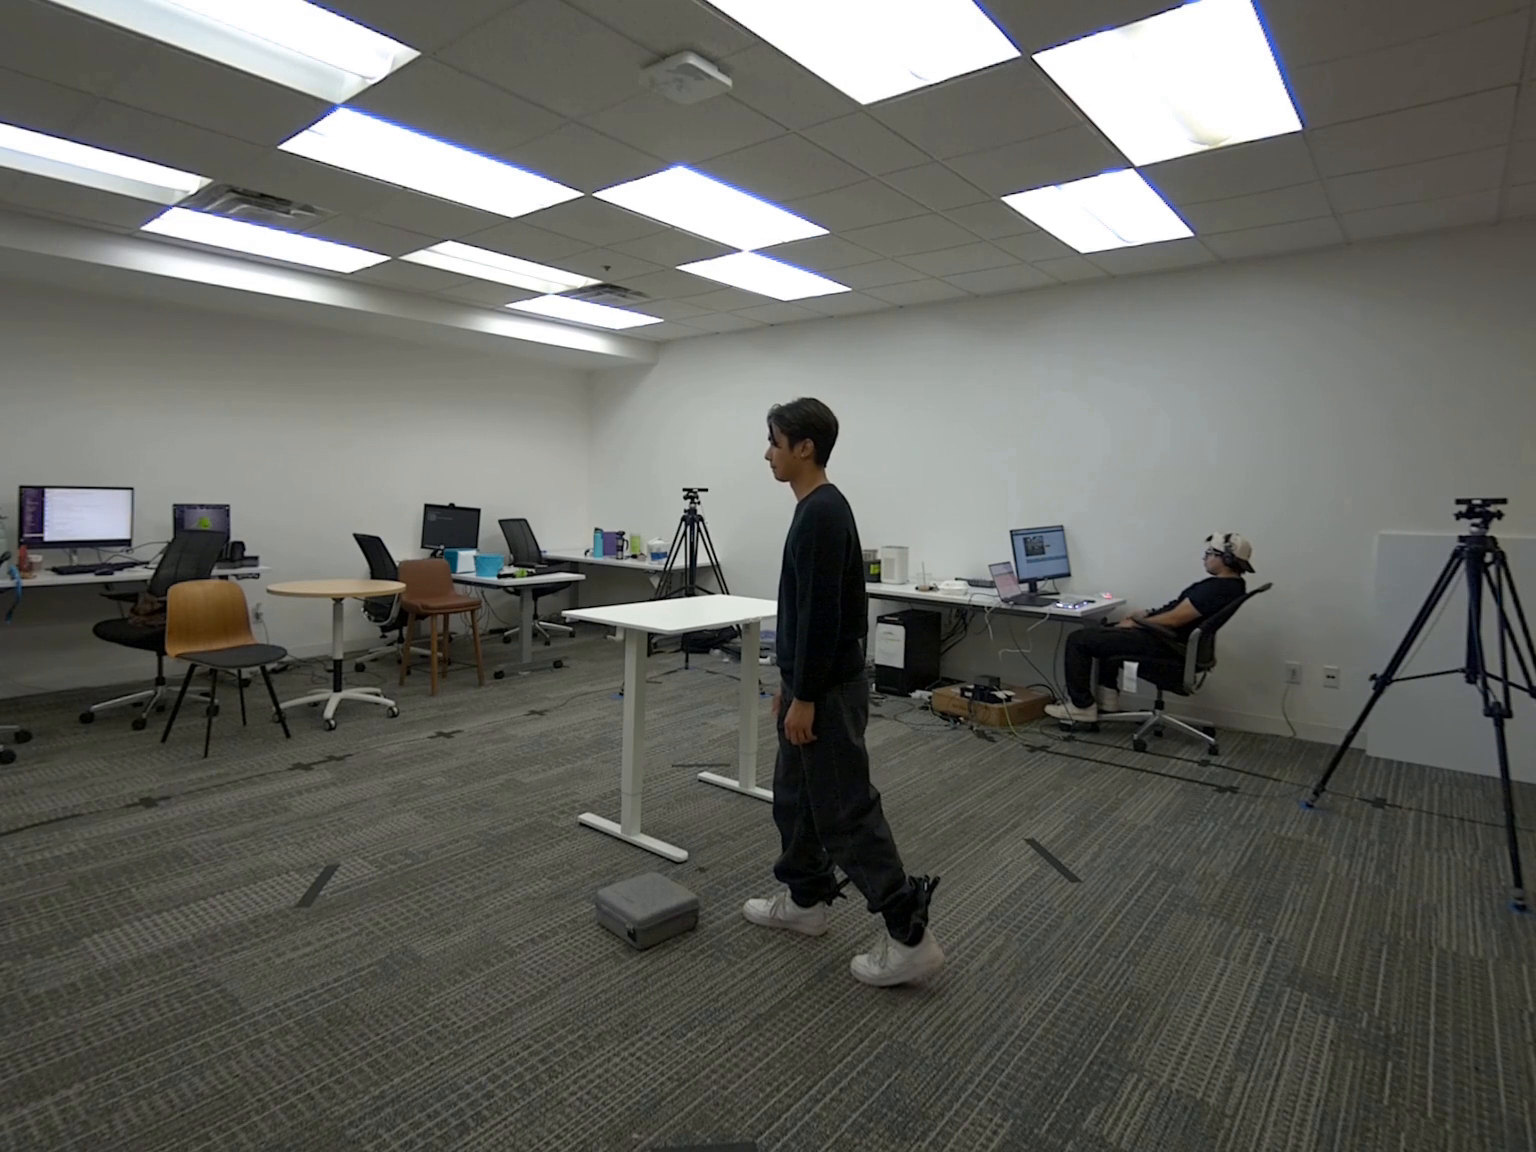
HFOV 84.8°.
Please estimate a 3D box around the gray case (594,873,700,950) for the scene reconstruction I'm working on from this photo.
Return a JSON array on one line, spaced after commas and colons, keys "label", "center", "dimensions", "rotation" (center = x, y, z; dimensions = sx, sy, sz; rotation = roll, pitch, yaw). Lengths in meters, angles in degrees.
[{"label": "gray case", "center": [-0.387, 1.045, 2.704], "dimensions": [0.265, 0.104, 0.253], "rotation": [3, 5, 45]}]
